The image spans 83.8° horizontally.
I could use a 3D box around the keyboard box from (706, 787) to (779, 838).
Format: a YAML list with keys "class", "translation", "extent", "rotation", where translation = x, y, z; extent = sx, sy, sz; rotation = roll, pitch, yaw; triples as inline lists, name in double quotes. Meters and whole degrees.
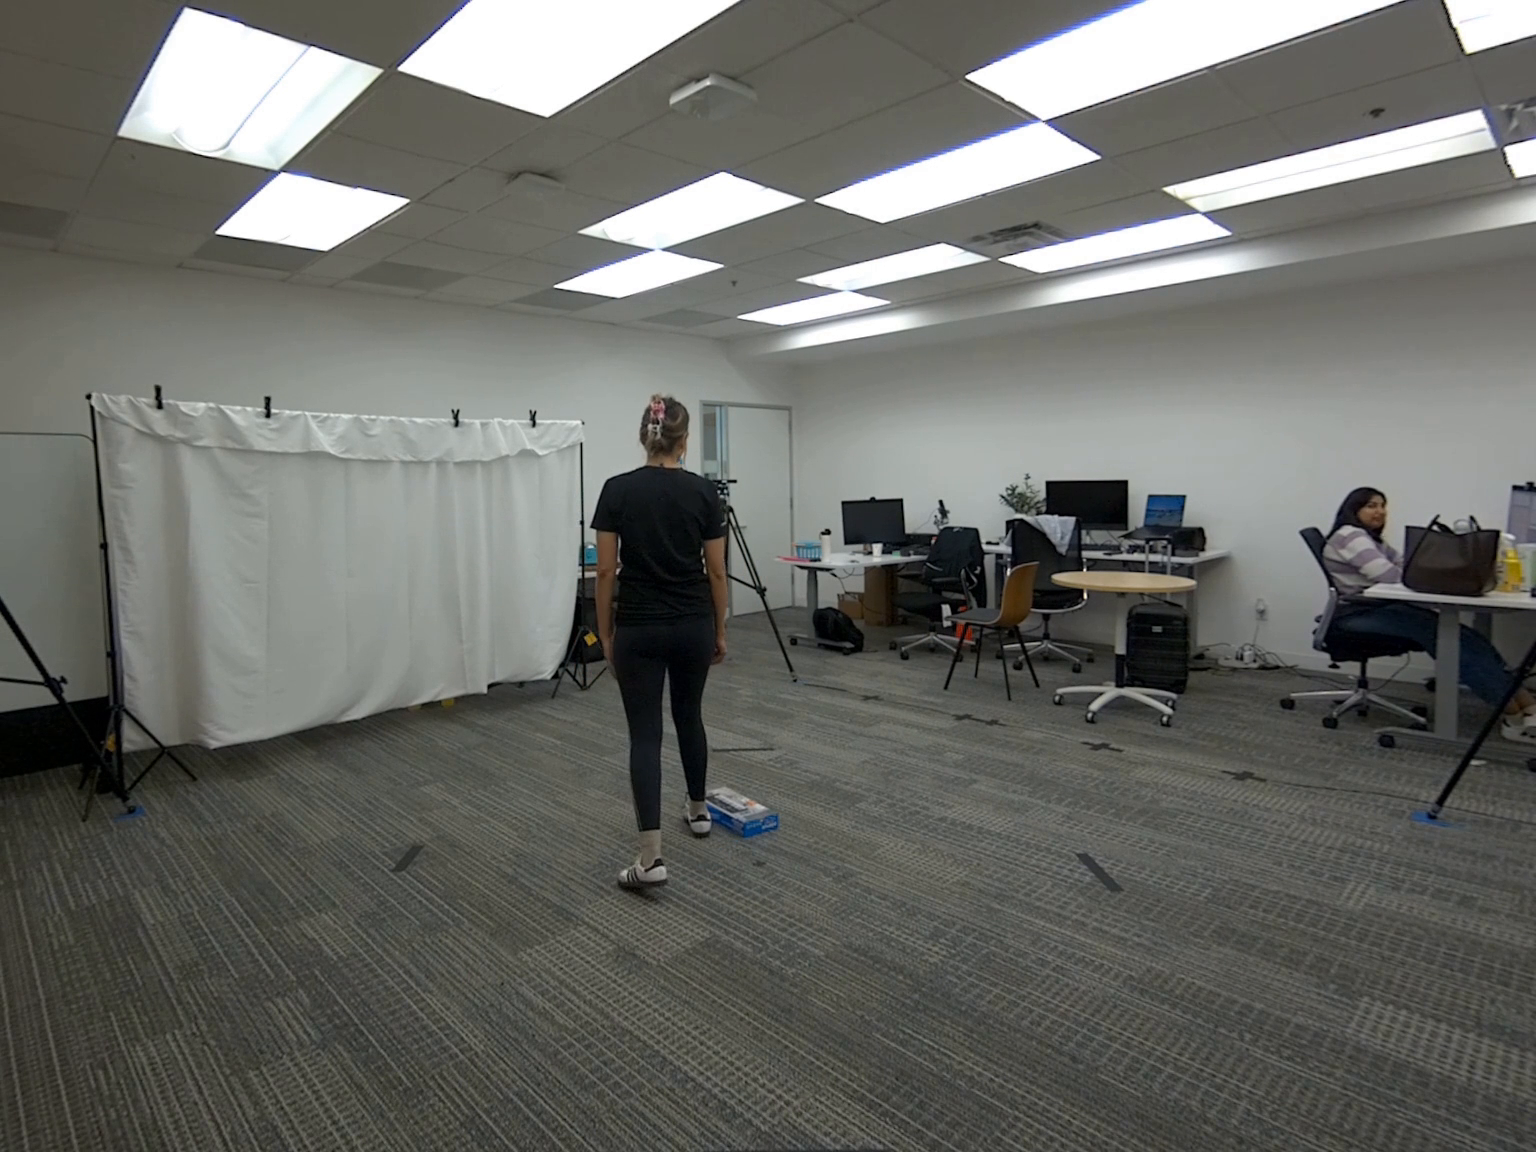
- class: "keyboard box"
  translation: [-0.156, 0.969, 3.563]
  extent: [0.171, 0.059, 0.450]
  rotation: [-5, 7, -35]
